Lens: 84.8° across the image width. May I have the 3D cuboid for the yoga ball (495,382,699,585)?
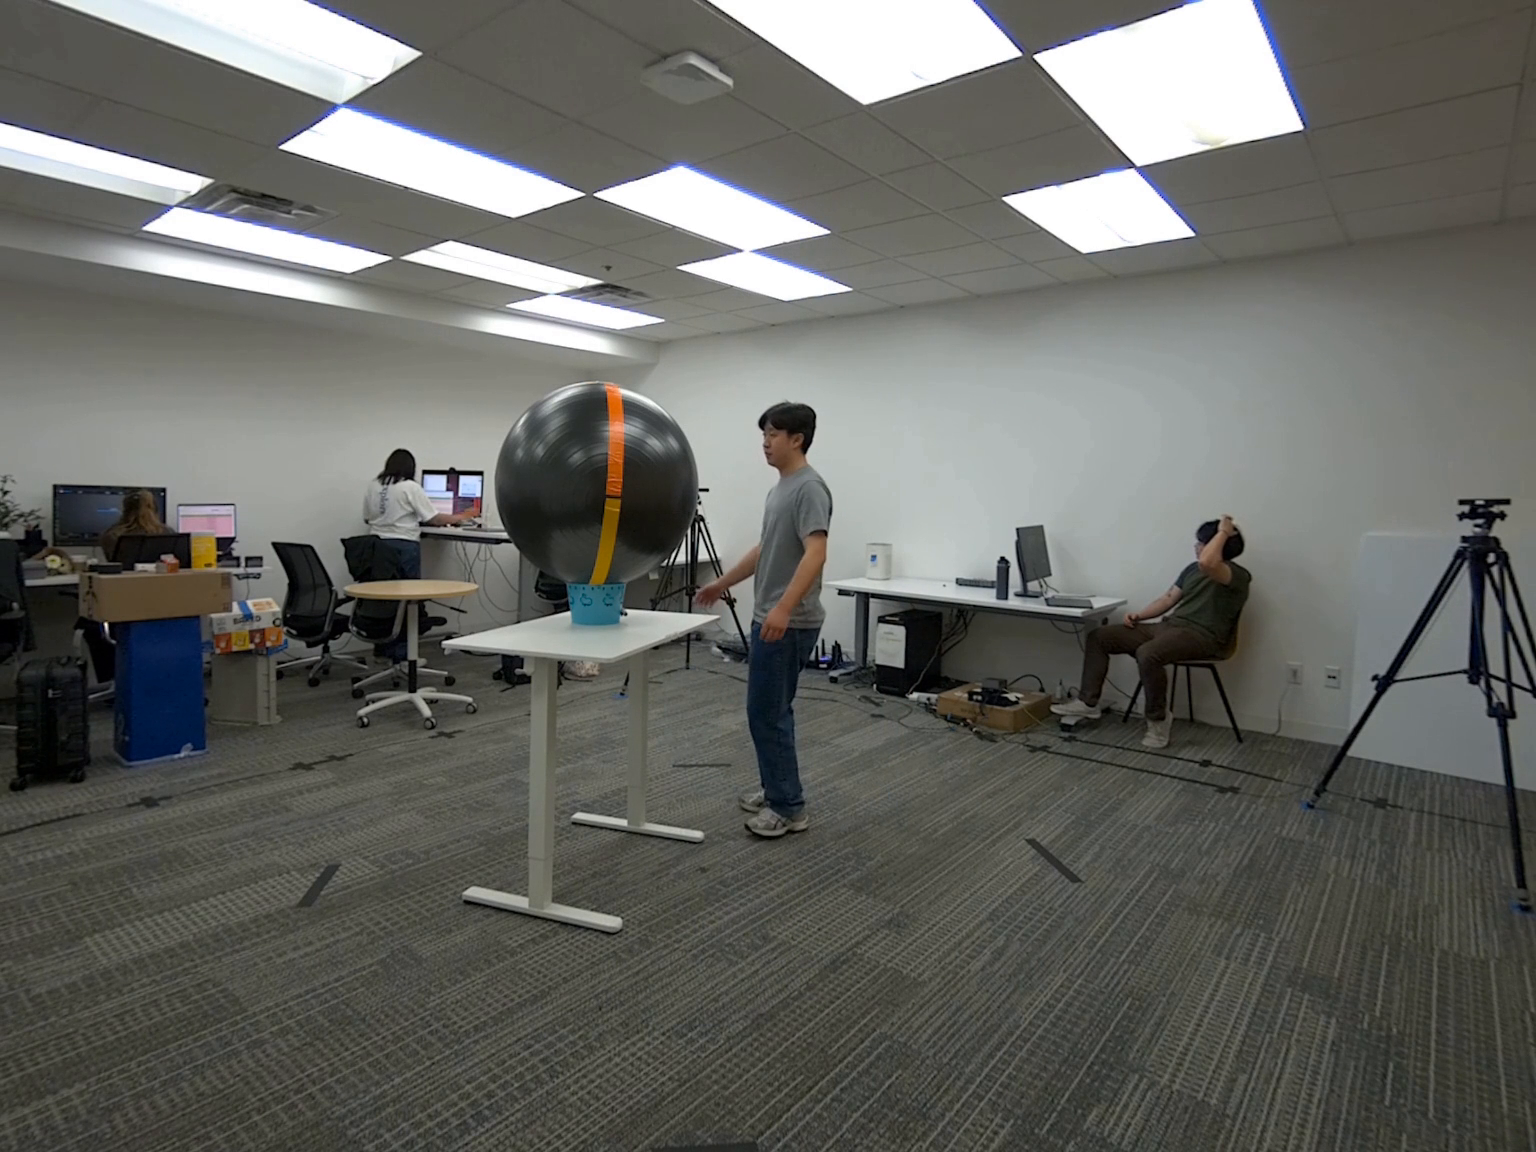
[{"bbox_3d":[-0.656,-0.339,3.187,0.757,0.755,0.762,1,4,-2],"label":"yoga ball"}]
